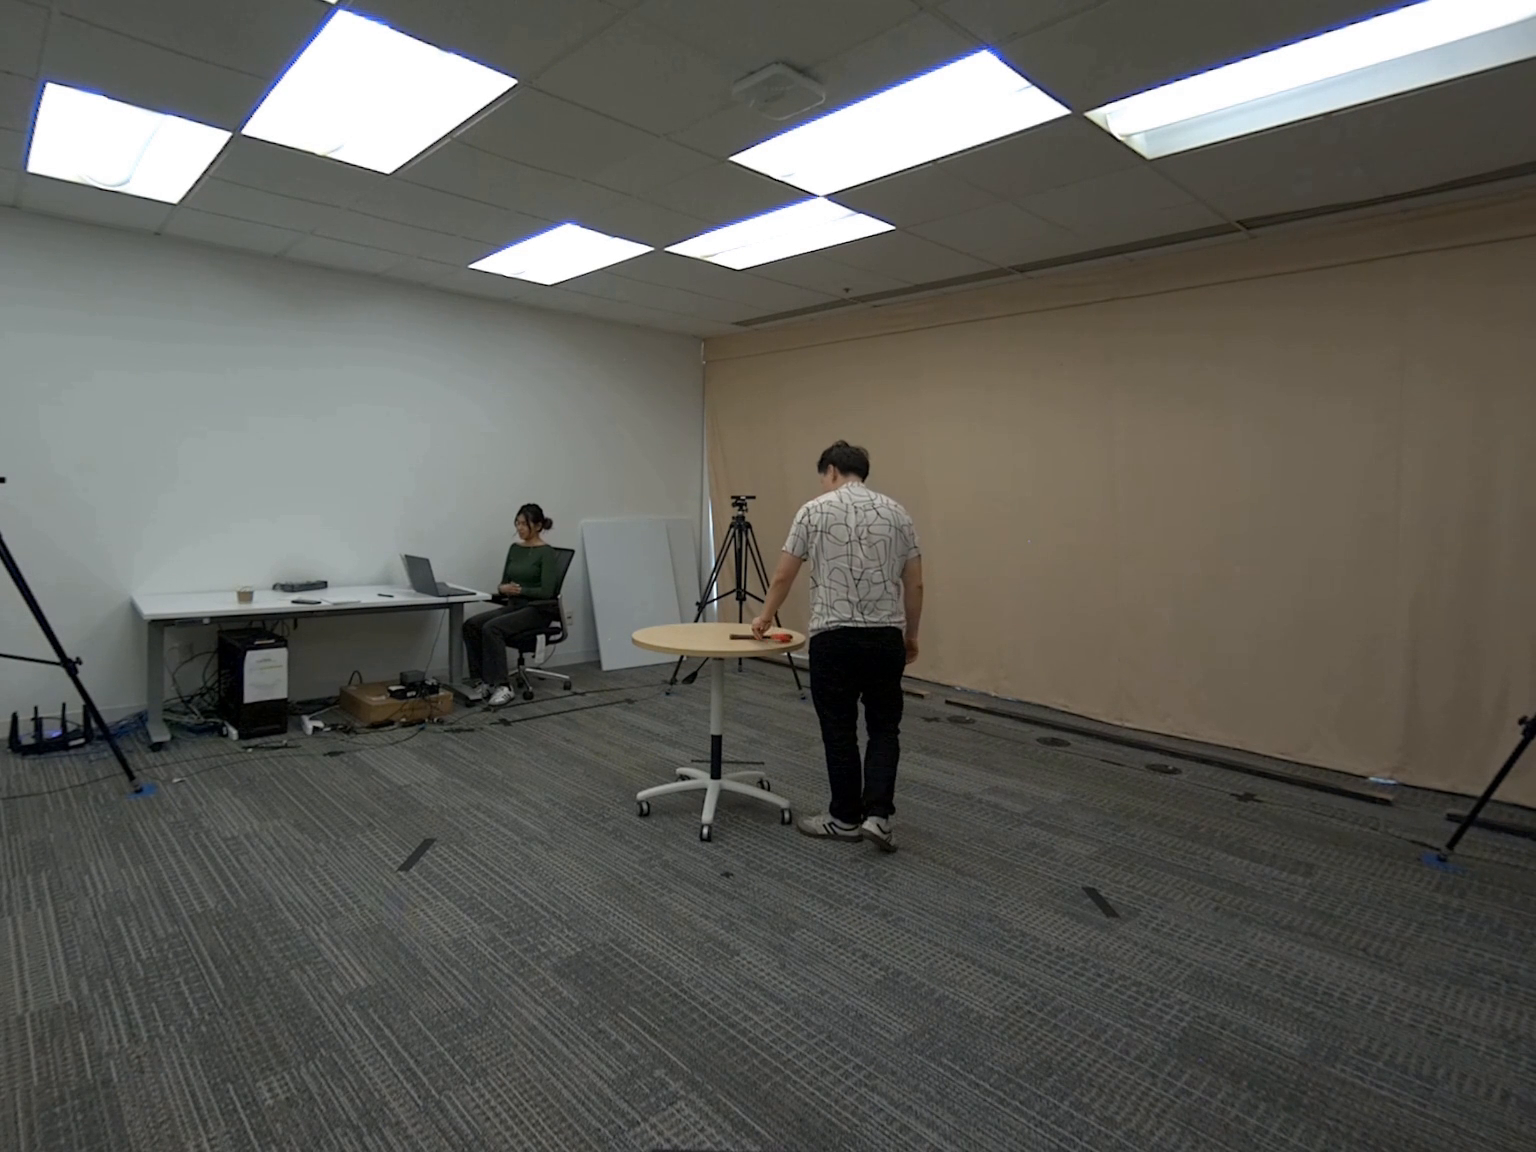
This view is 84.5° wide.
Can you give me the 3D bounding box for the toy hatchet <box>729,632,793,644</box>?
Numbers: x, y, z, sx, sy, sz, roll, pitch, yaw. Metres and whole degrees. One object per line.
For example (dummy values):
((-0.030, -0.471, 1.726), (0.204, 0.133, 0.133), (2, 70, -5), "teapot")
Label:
((-0.041, 0.258, 3.593), (0.270, 0.030, 0.130), (1, -7, -1), "toy hatchet")
